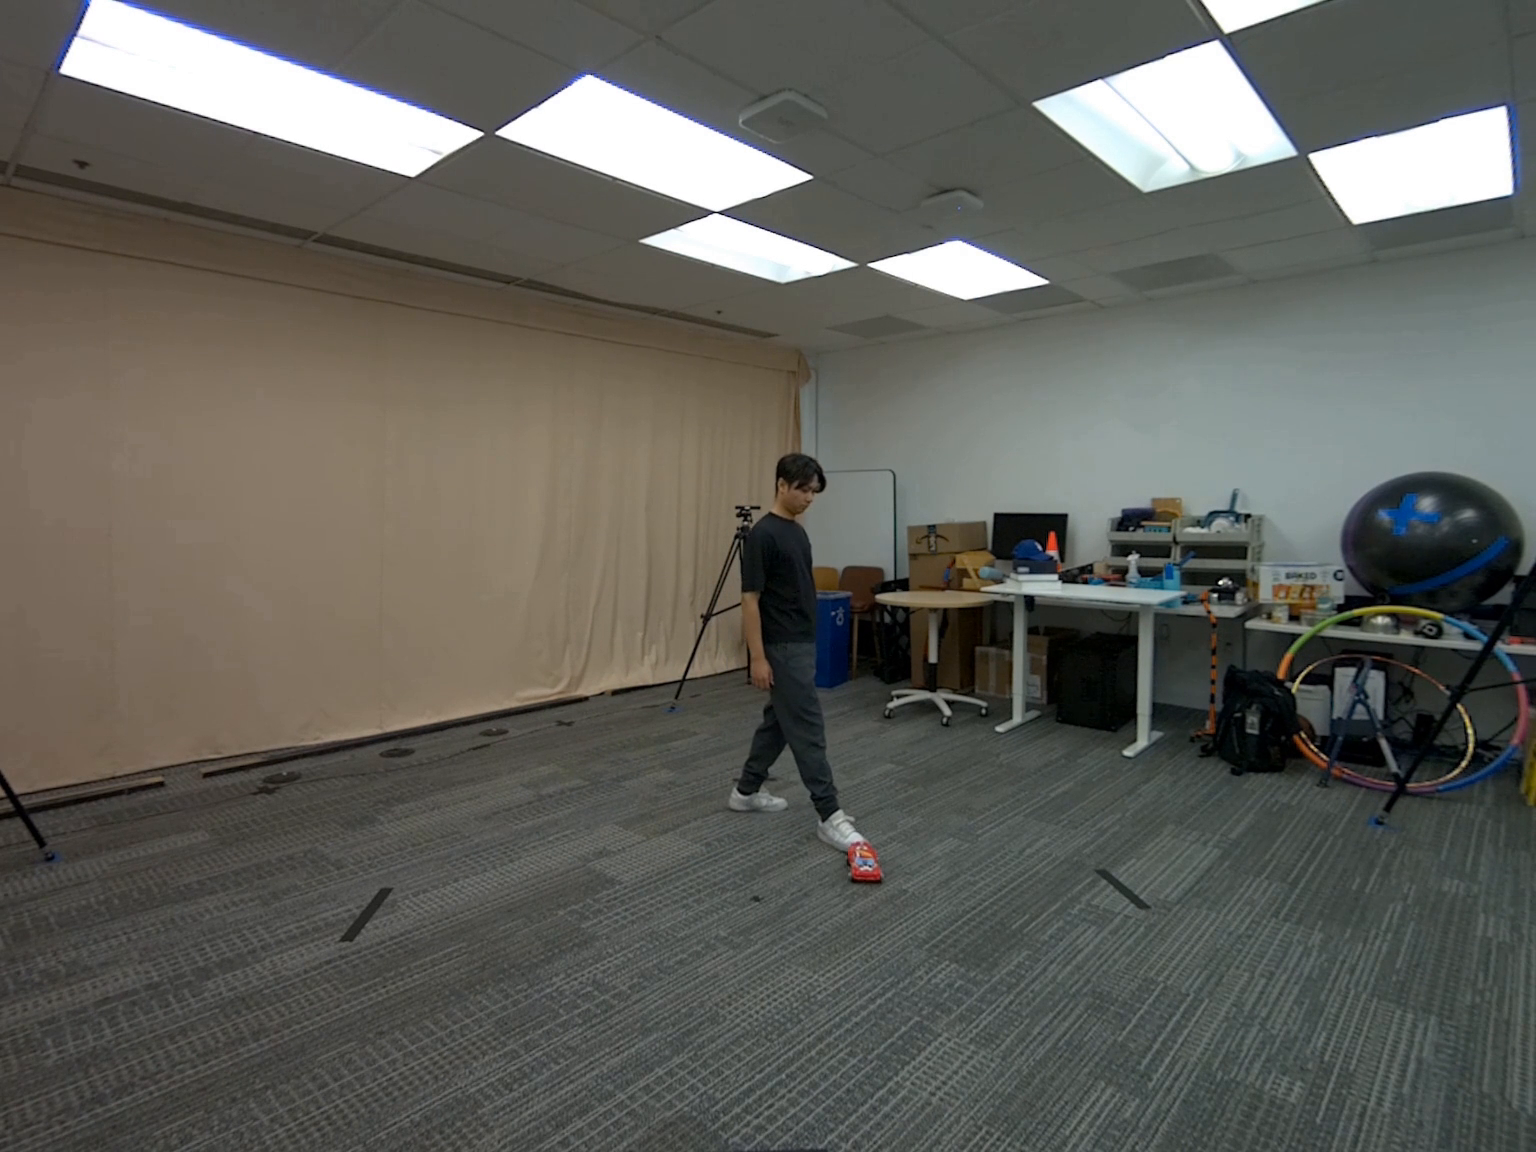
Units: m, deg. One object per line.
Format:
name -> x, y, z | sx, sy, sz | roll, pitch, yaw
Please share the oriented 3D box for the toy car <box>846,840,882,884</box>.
toy car -> 0.370, 1.091, 3.220 | 0.130, 0.082, 0.256 | 0, 16, 1
